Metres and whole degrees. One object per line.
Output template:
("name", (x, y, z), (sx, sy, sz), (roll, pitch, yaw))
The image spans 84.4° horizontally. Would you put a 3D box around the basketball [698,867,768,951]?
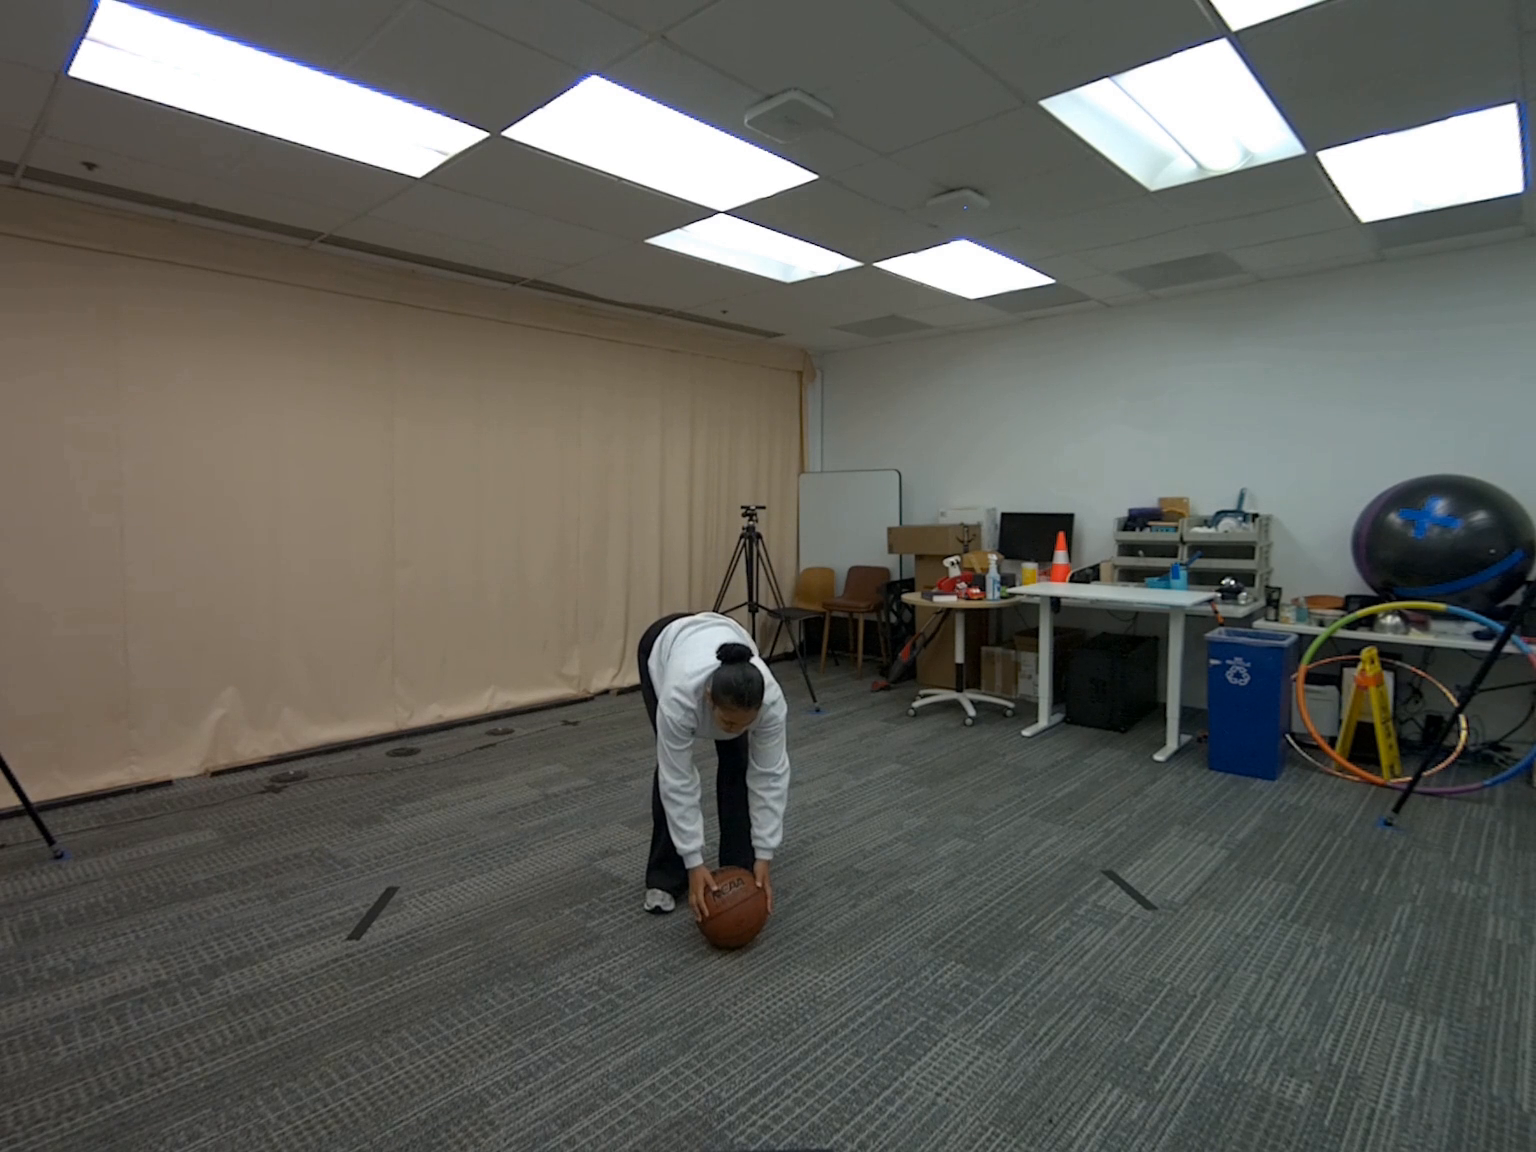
("basketball", (-0.117, 1.037, 2.680), (0.236, 0.235, 0.237), (0, 4, -2))
